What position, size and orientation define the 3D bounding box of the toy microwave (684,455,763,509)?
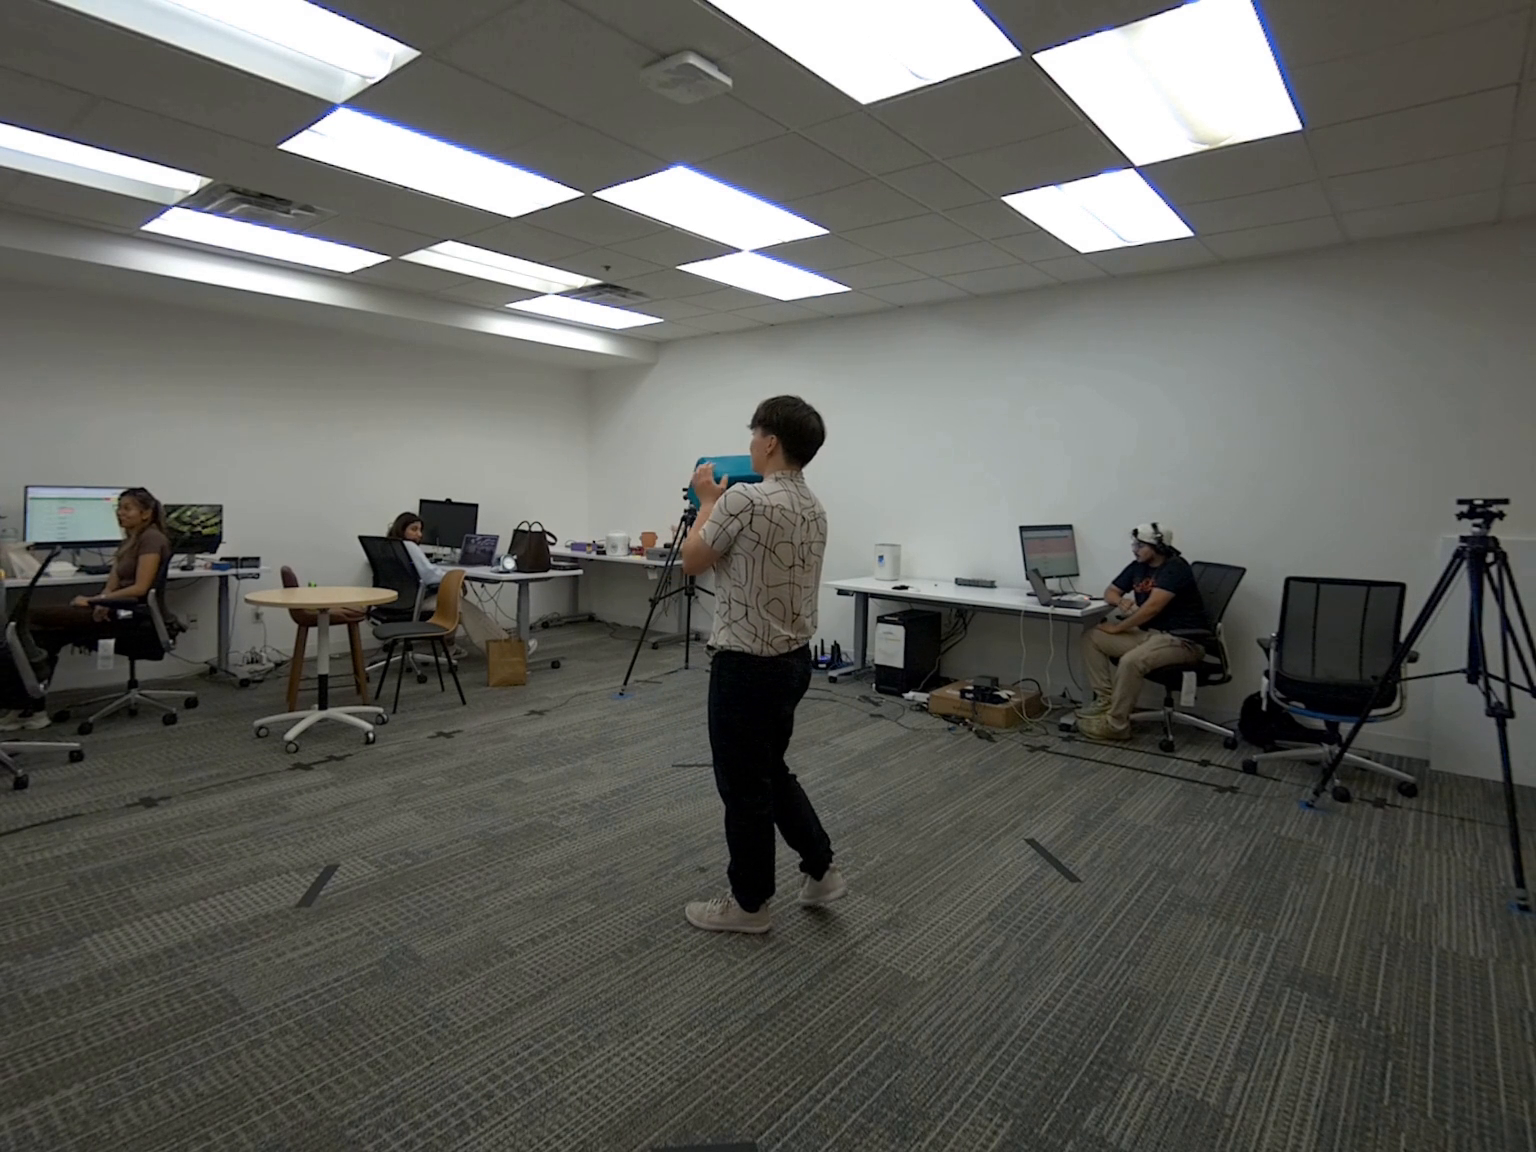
[{"bbox_3d":[-0.134,-0.322,2.977,0.279,0.181,0.159,-8,44,-35],"label":"toy microwave"}]
